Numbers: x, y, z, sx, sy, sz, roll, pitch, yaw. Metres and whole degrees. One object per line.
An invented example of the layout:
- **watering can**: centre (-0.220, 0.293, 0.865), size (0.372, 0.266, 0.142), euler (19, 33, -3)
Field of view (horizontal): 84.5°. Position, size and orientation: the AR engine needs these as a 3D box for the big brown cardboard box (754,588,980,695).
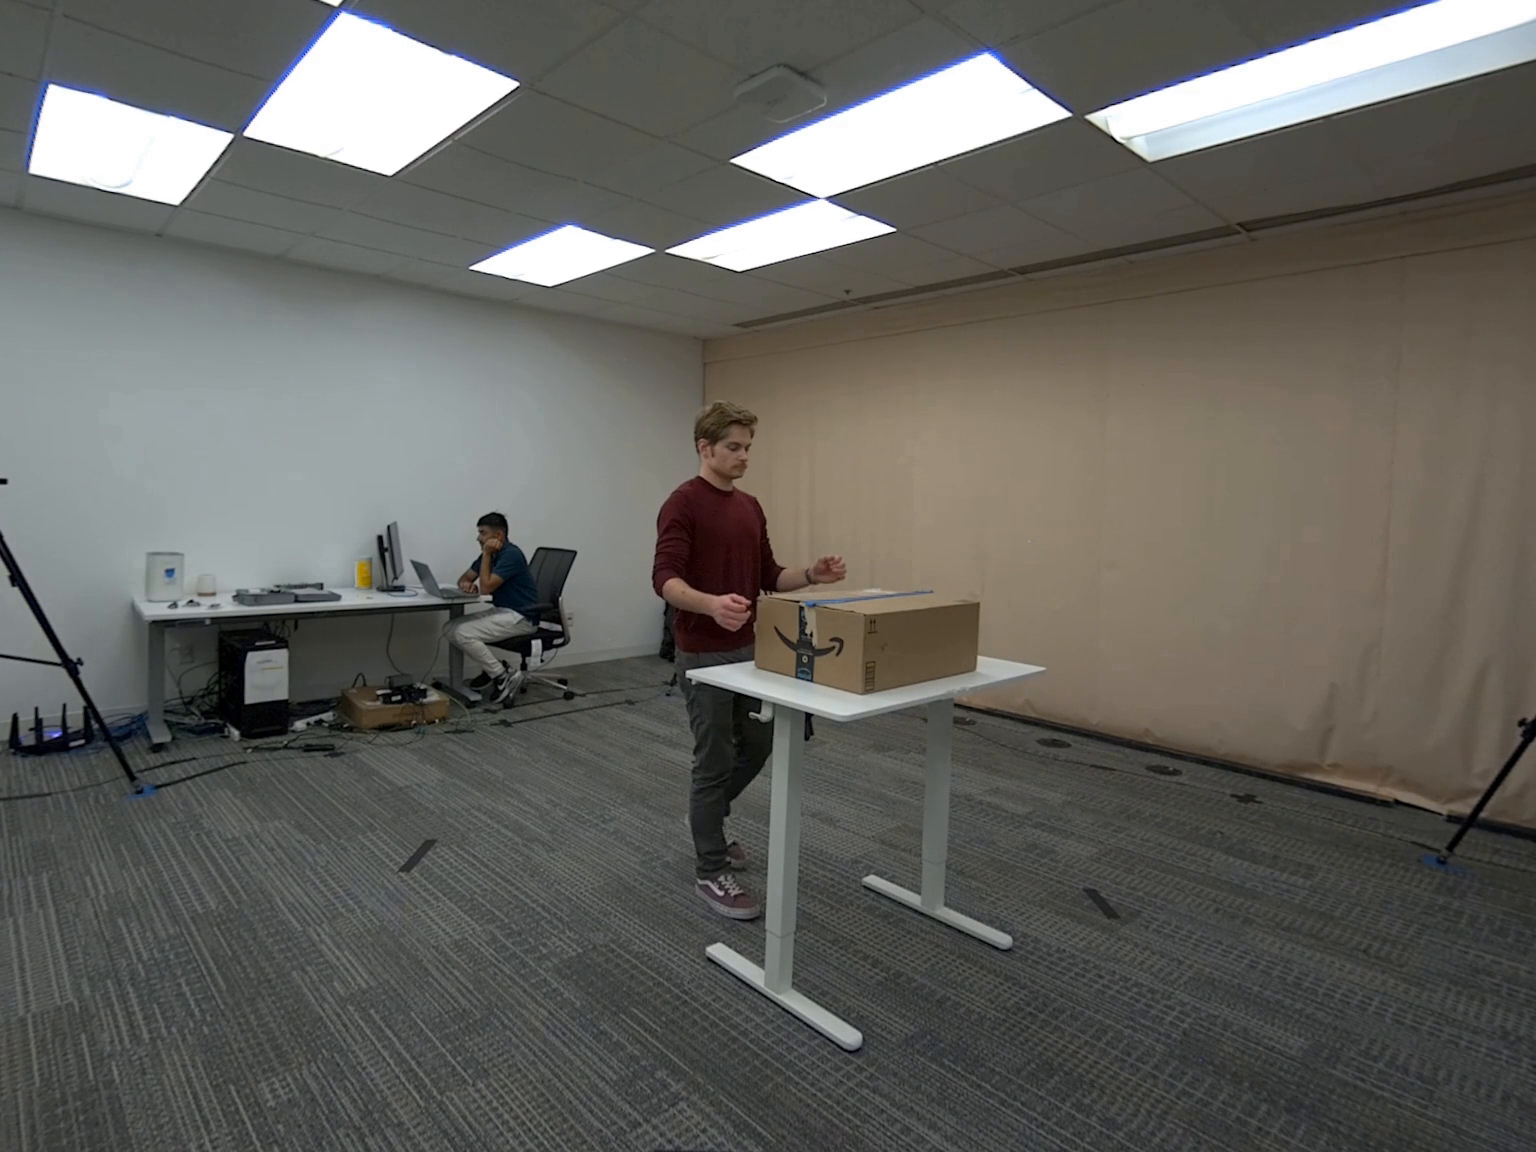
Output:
- **big brown cardboard box**: centre (0.300, 0.173, 2.555), size (0.575, 0.232, 0.428), euler (-3, 7, -43)
